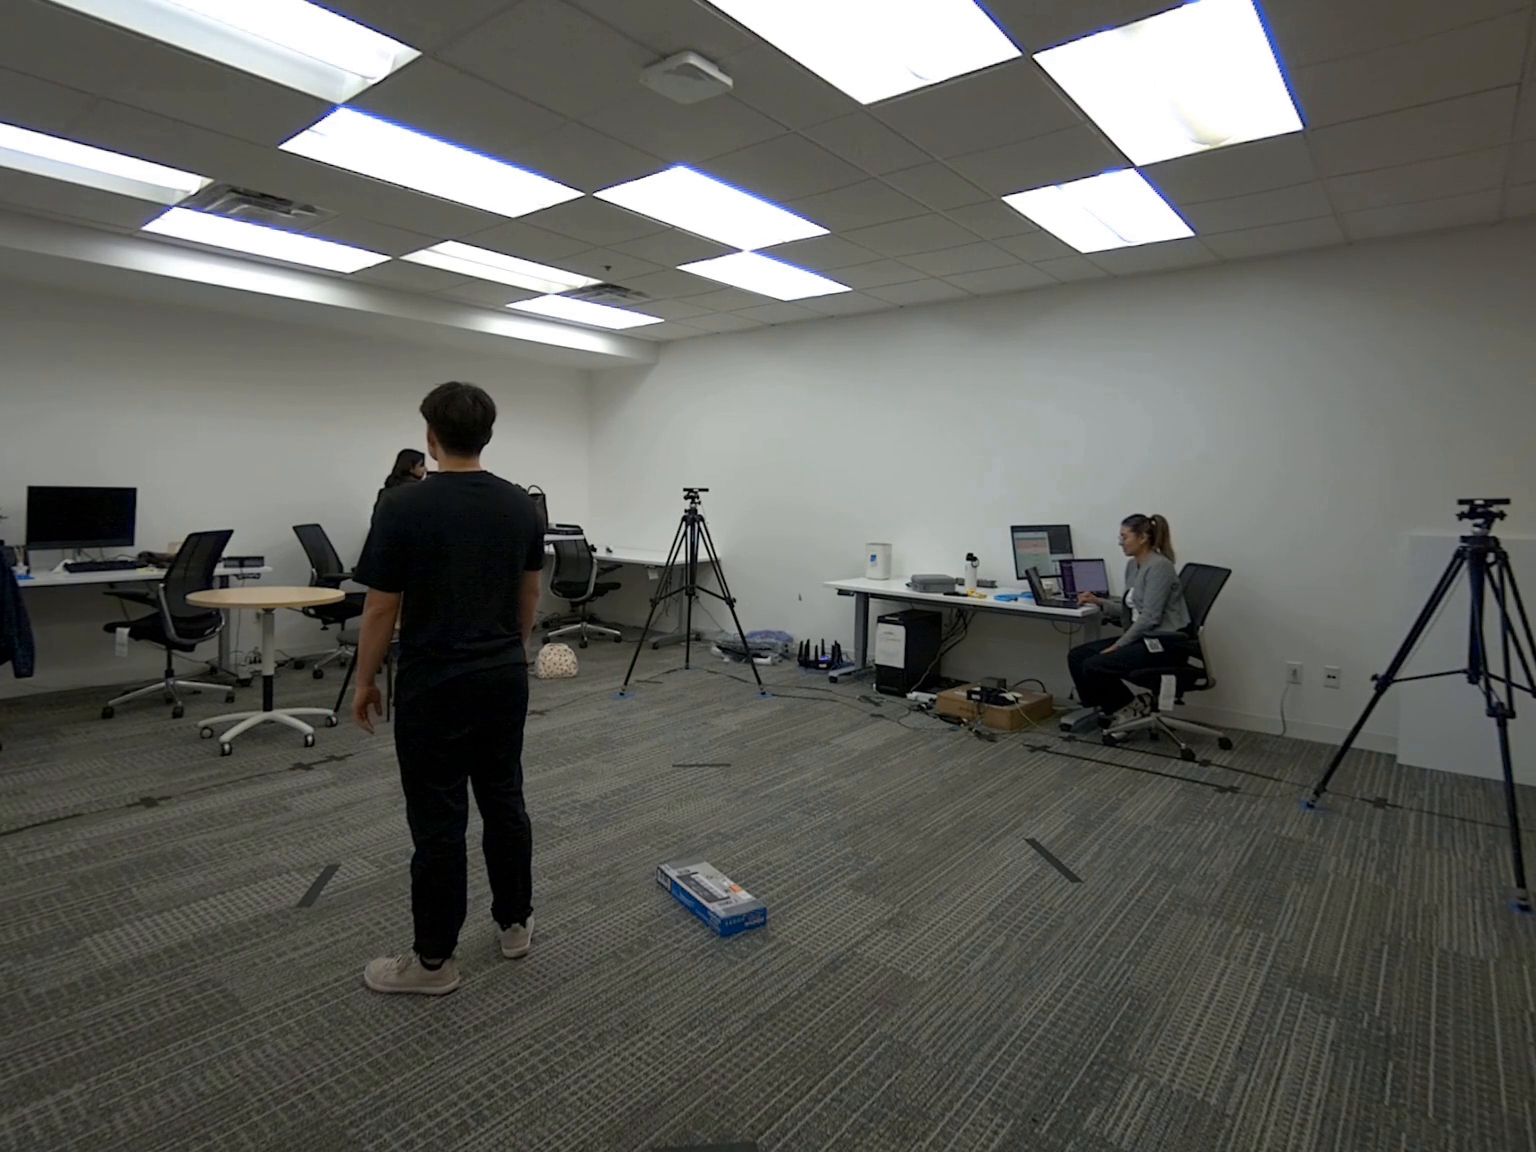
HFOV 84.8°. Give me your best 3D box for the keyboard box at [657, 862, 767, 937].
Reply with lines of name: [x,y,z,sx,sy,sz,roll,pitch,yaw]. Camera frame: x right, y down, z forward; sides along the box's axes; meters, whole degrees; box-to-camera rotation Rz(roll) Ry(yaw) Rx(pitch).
keyboard box: [-0.203,1.062,2.857,0.171,0.059,0.451,-1,6,-34]
